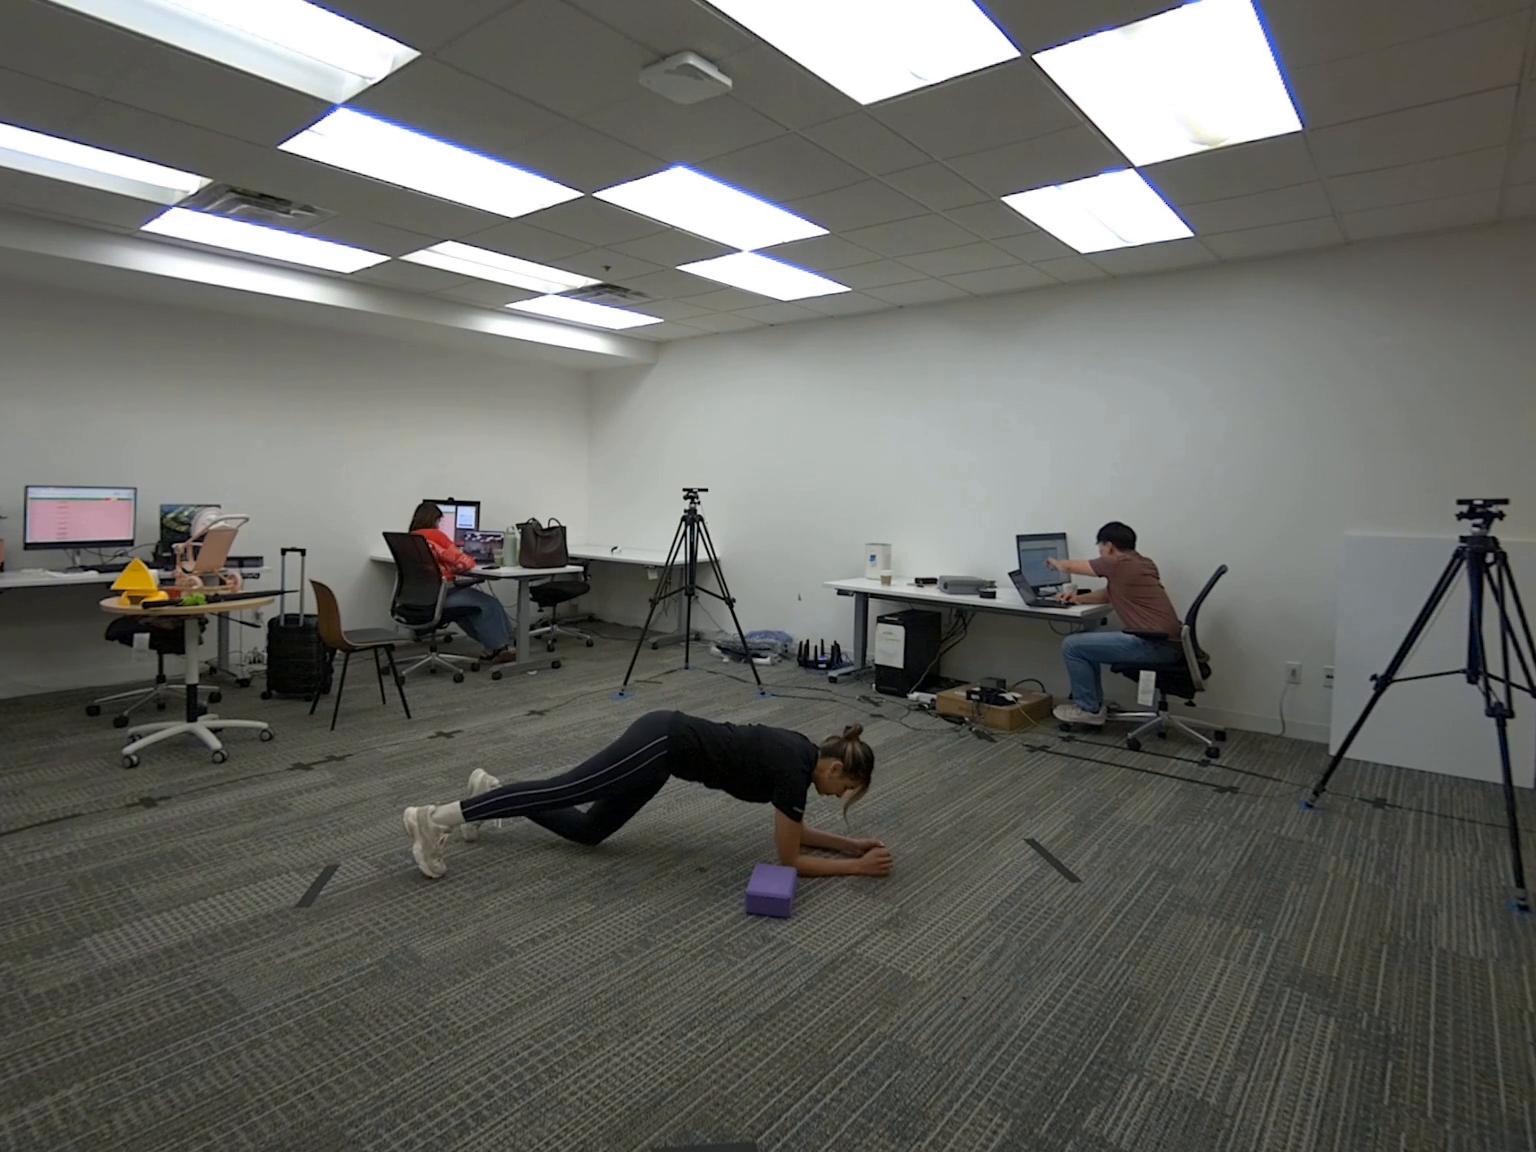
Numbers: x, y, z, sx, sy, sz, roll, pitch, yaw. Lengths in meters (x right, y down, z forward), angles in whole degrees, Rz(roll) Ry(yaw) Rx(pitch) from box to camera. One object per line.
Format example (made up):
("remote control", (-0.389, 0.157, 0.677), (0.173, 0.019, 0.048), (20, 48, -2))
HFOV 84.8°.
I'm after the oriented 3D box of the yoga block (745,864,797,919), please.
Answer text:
("yoga block", (0.005, 1.058, 2.878), (0.150, 0.076, 0.228), (1, 5, 8))
